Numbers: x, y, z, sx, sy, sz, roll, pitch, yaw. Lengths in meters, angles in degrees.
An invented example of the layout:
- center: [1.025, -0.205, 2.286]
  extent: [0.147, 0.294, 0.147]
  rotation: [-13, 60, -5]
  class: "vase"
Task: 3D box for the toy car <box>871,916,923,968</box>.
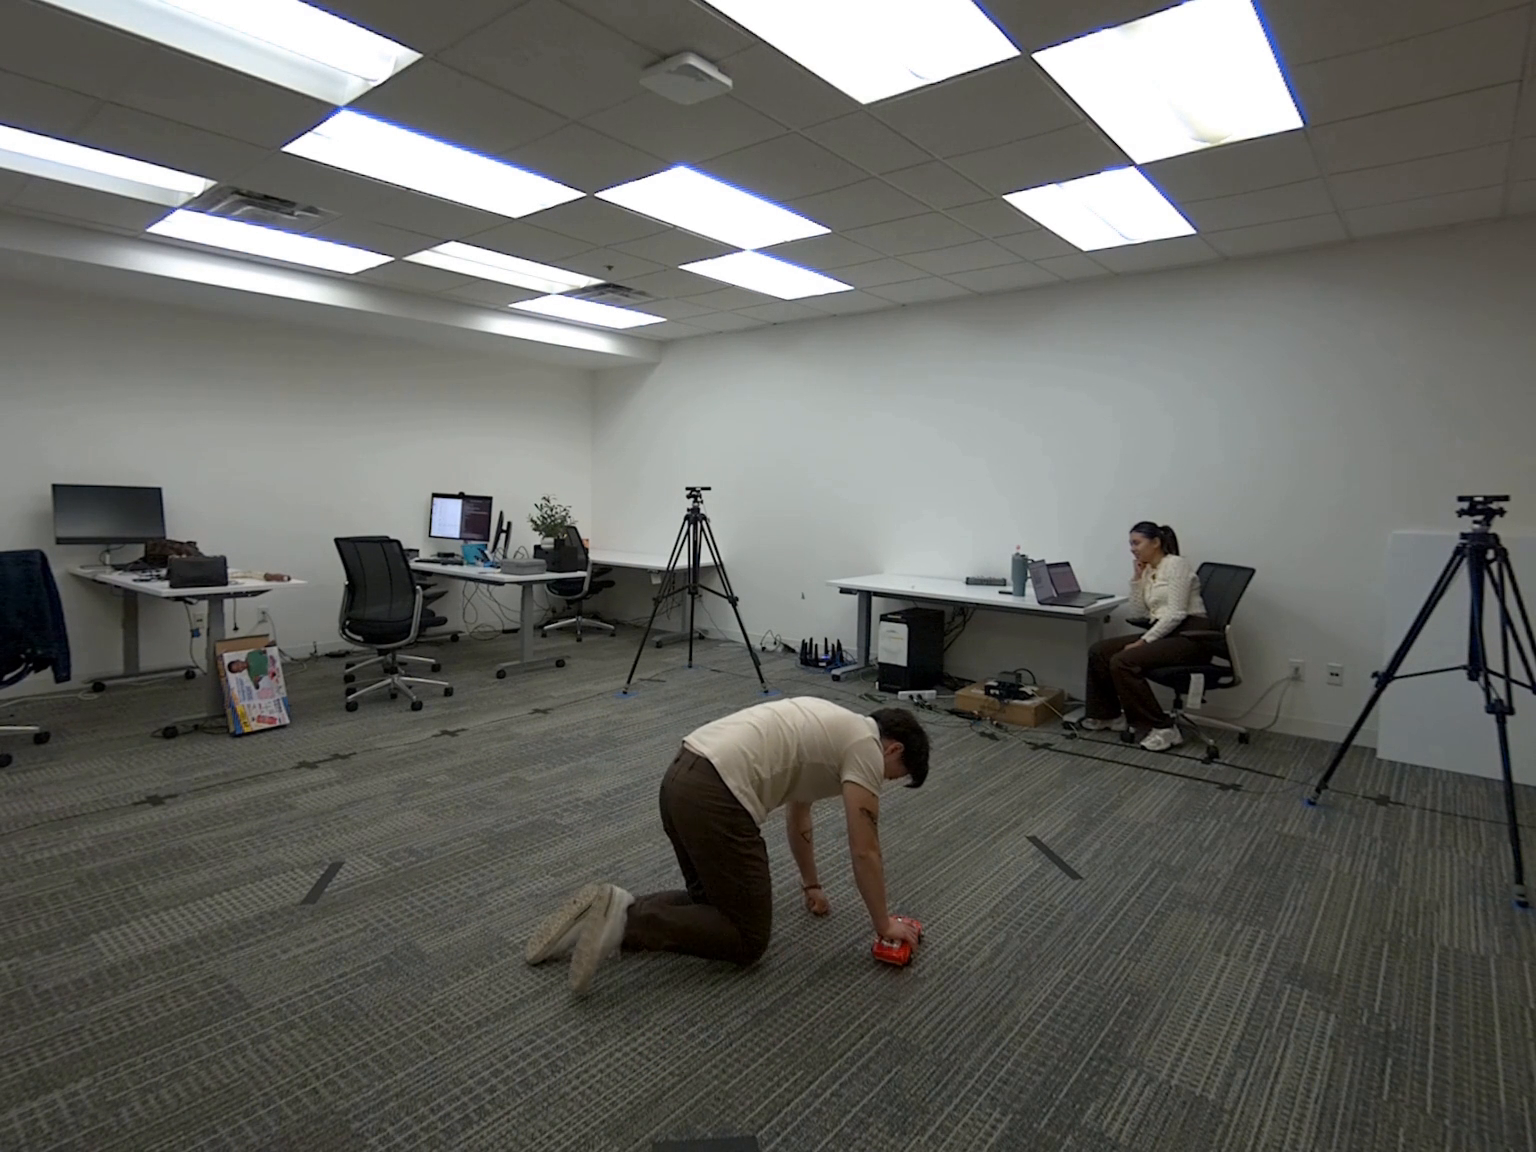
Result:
- center: [0.384, 1.108, 2.565]
  extent: [0.133, 0.083, 0.247]
  rotation: [4, -4, 23]
  class: "toy car"
